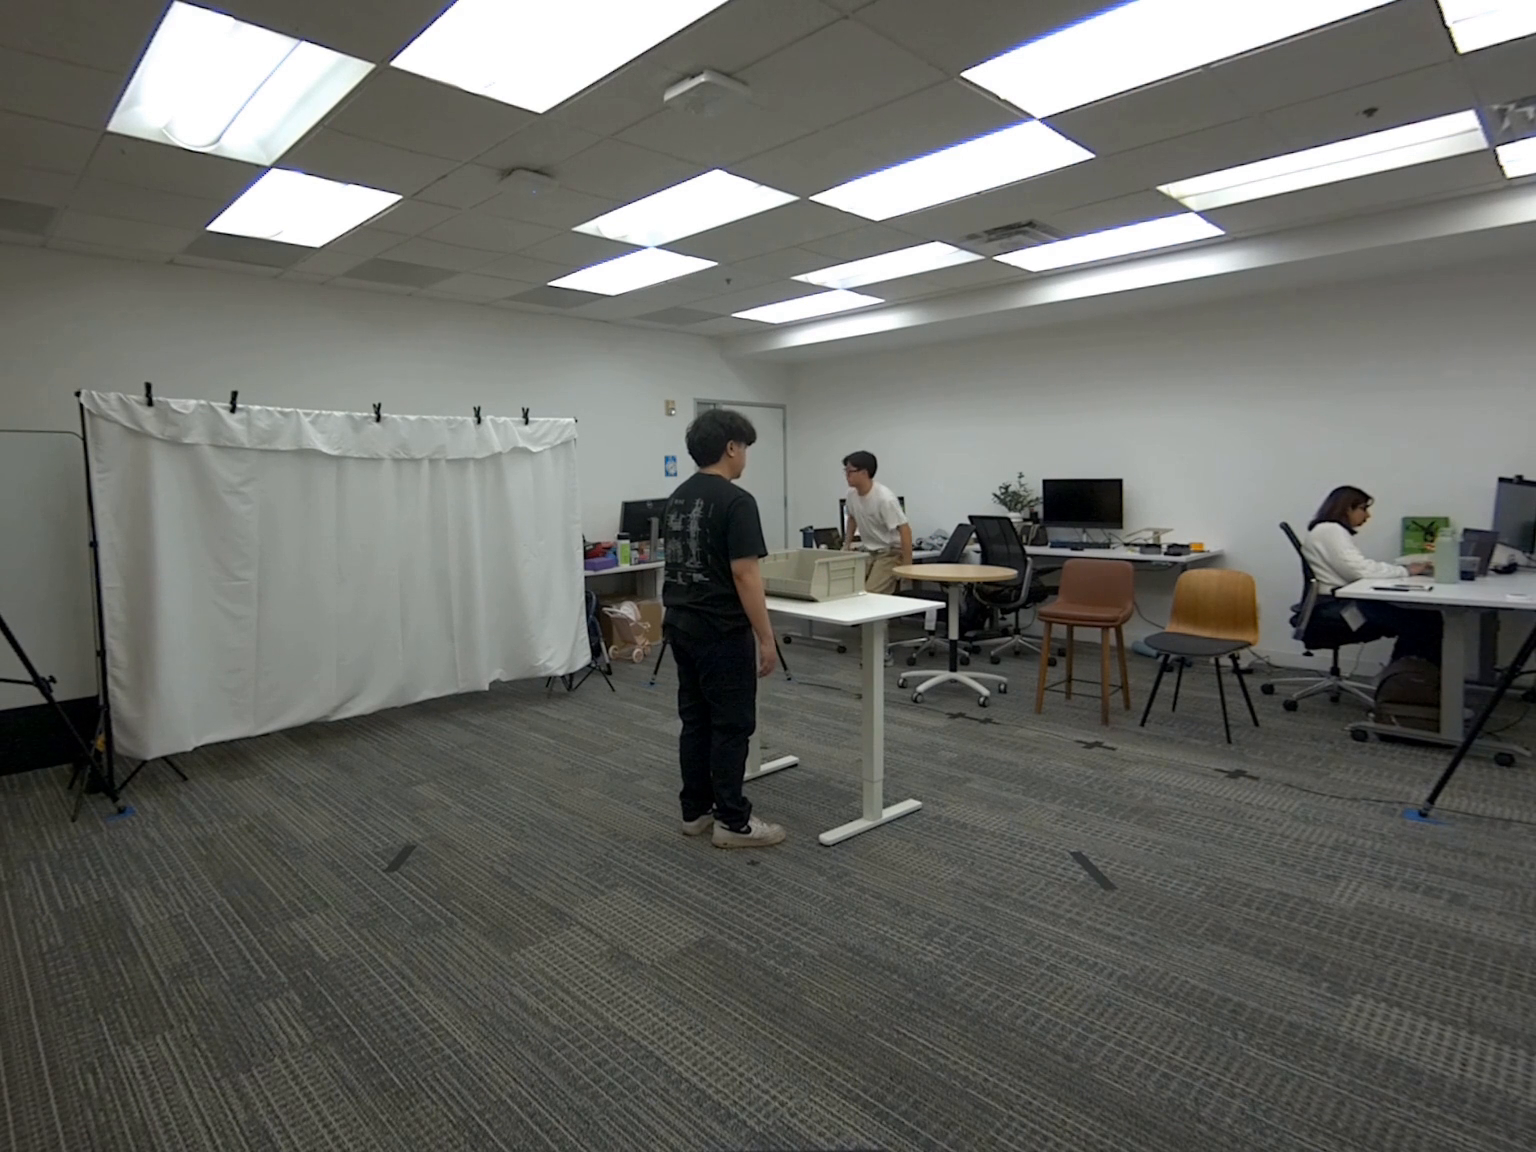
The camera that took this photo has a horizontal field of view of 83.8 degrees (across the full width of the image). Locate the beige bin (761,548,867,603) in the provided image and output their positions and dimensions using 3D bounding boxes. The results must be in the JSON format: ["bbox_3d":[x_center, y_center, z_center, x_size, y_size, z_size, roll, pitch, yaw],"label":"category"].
[{"bbox_3d":[0.165,-0.005,3.750,0.367,0.188,0.435,-6,8,-43],"label":"beige bin"}]
